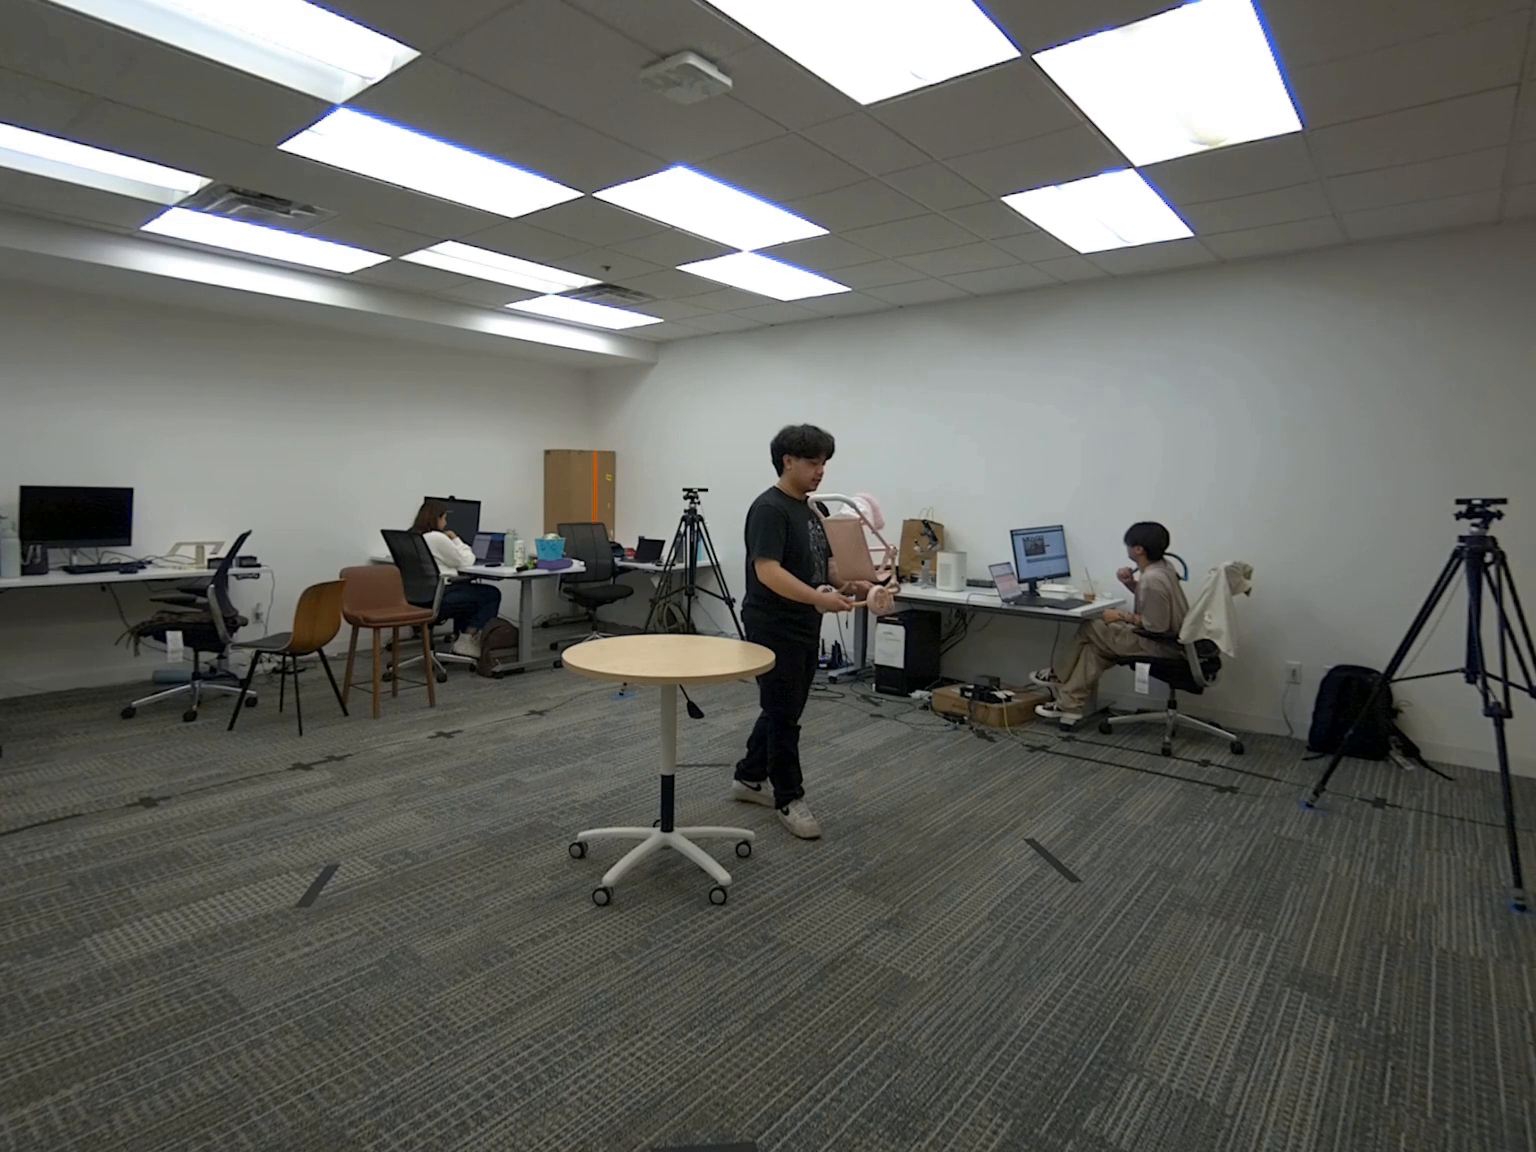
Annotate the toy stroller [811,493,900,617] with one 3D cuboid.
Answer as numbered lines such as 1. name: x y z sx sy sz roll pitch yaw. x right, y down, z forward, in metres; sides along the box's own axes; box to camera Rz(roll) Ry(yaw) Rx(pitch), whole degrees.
1. toy stroller: 0.342 -0.085 3.278 0.333 0.531 0.290 -16 10 -42
